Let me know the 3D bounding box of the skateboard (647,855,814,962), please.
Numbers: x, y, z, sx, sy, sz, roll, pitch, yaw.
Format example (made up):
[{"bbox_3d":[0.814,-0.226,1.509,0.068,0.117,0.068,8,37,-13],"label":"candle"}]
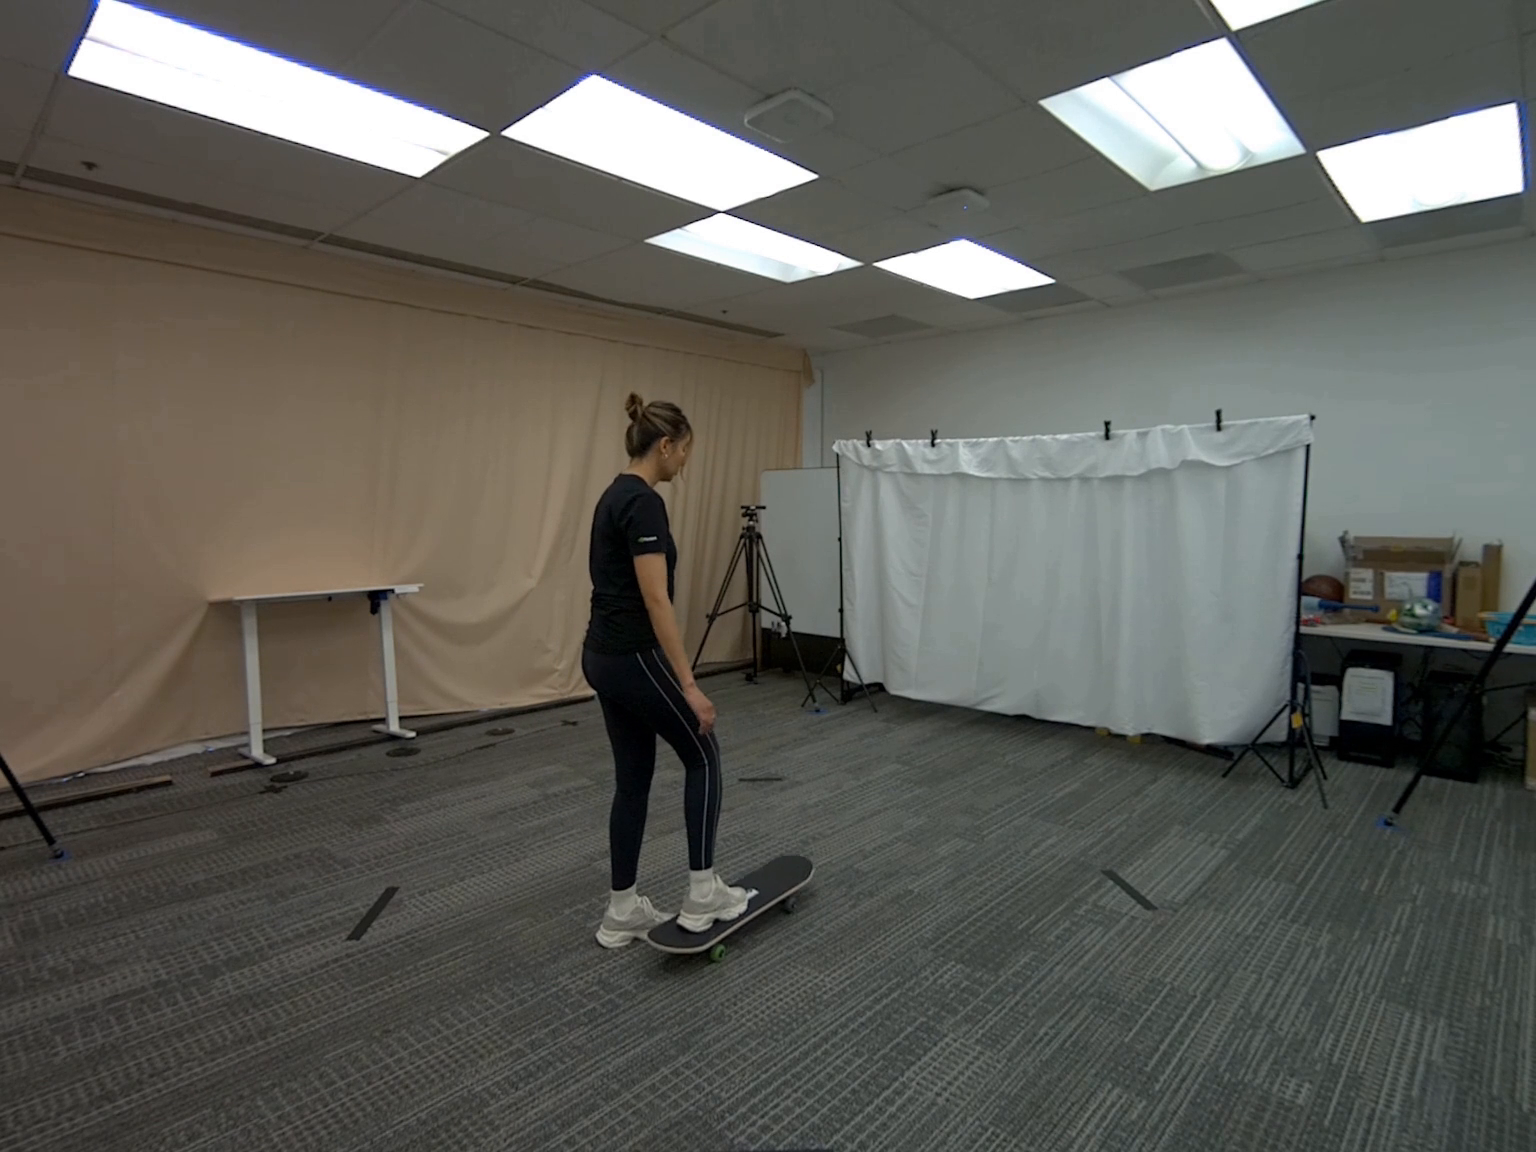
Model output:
[{"bbox_3d":[-0.098,1.110,2.773,0.200,0.110,0.762,3,6,38],"label":"skateboard"}]
